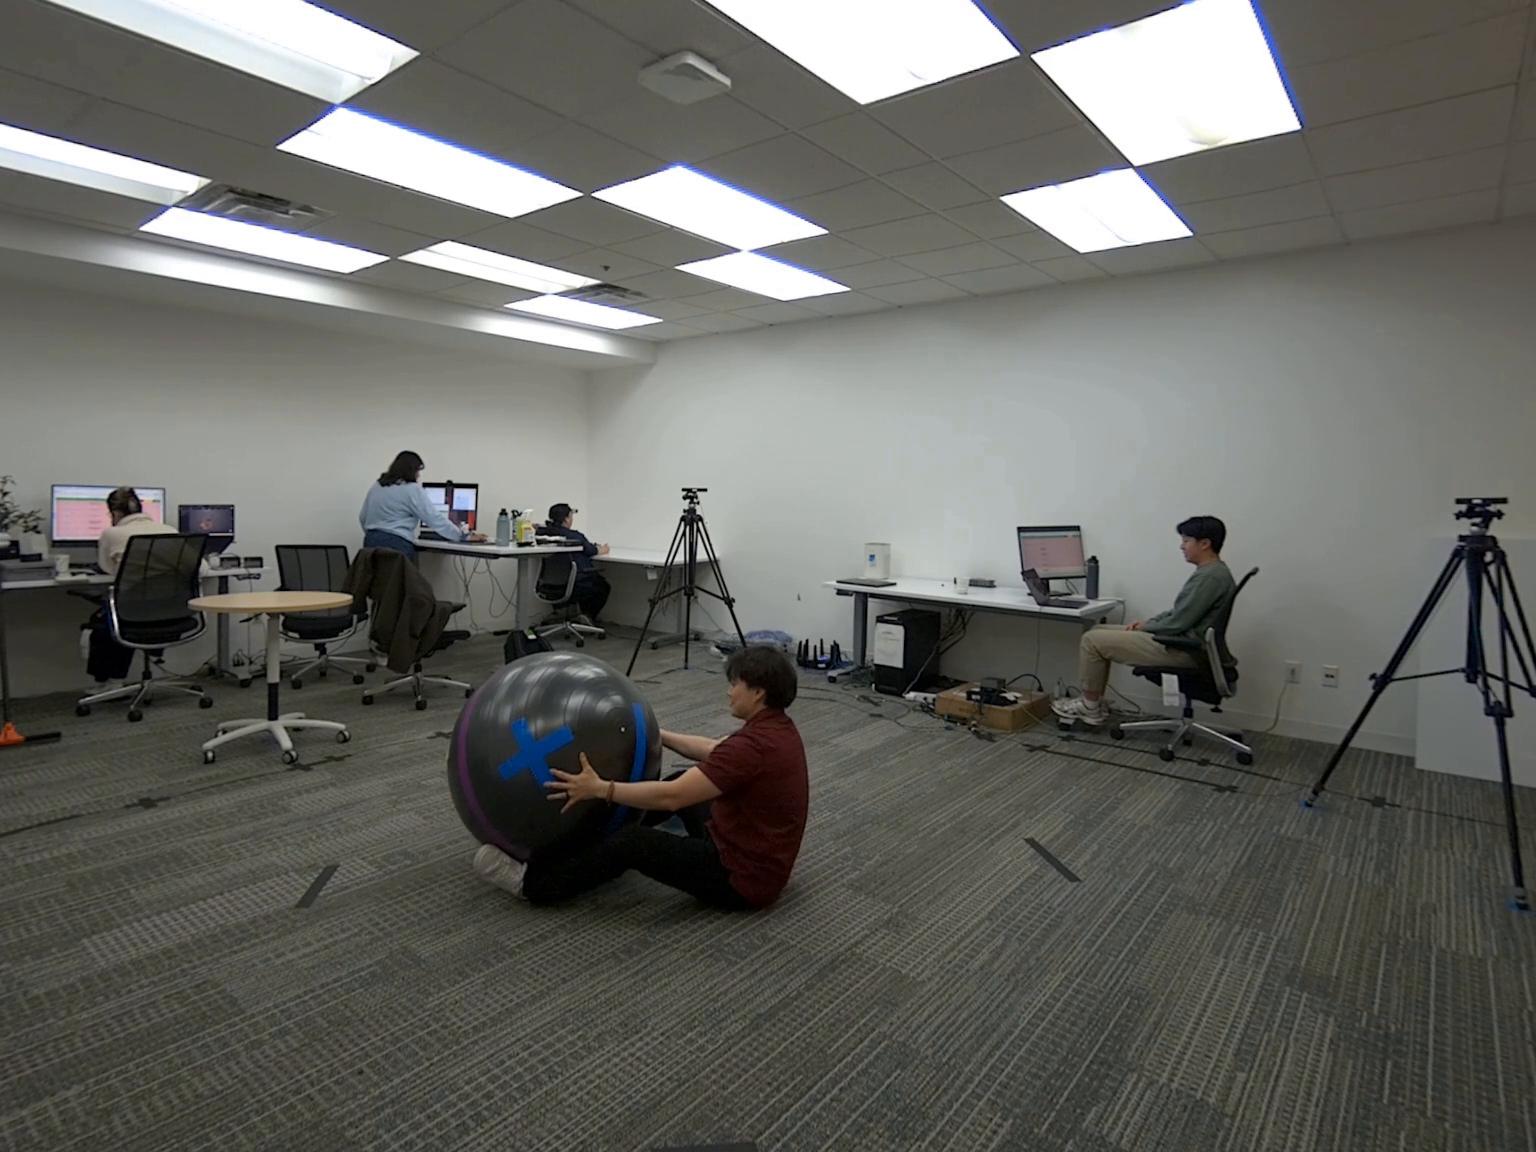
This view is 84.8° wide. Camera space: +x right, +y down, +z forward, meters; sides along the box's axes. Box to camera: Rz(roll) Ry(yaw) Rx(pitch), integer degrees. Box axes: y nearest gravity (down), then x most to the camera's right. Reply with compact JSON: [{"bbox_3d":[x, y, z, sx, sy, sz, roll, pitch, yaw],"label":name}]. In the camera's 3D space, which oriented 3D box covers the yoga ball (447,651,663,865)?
[{"bbox_3d":[-0.765,0.650,3.074,0.757,0.755,0.762,1,4,-2],"label":"yoga ball"}]
